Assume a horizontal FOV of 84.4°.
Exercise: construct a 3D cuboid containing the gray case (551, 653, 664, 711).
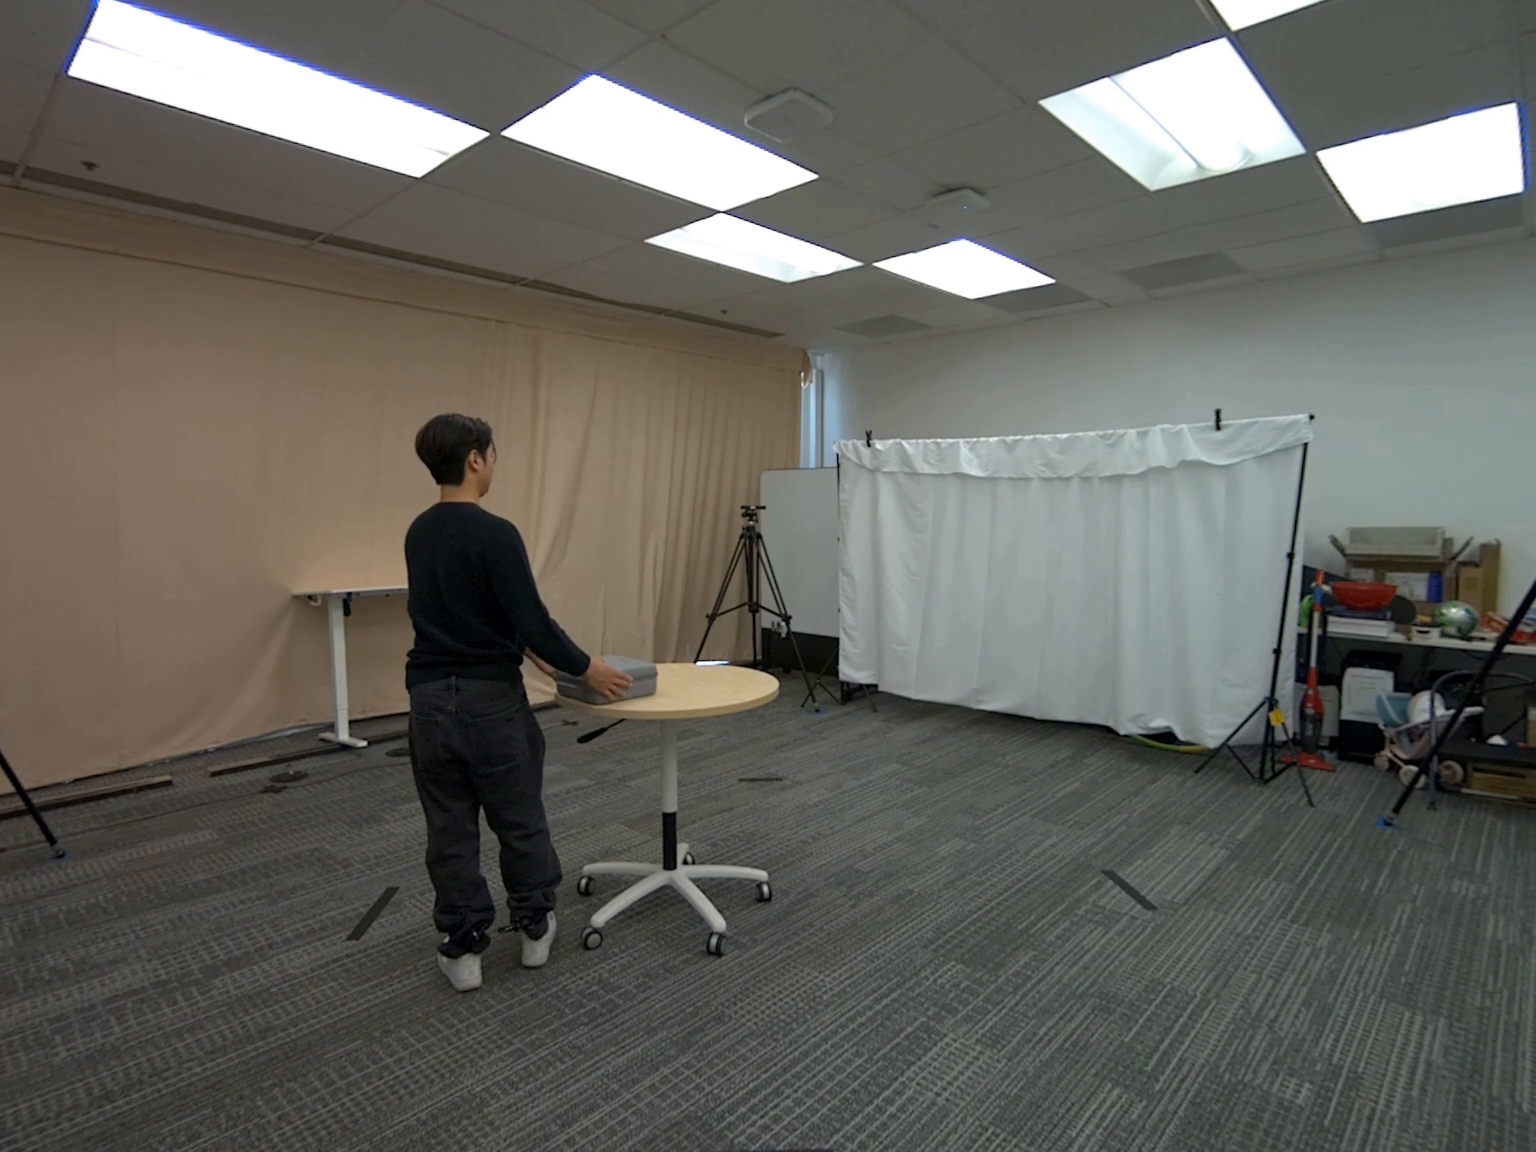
[{"bbox_3d":[-0.519,0.334,2.730,0.253,0.104,0.265,-5,7,-42],"label":"gray case"}]
